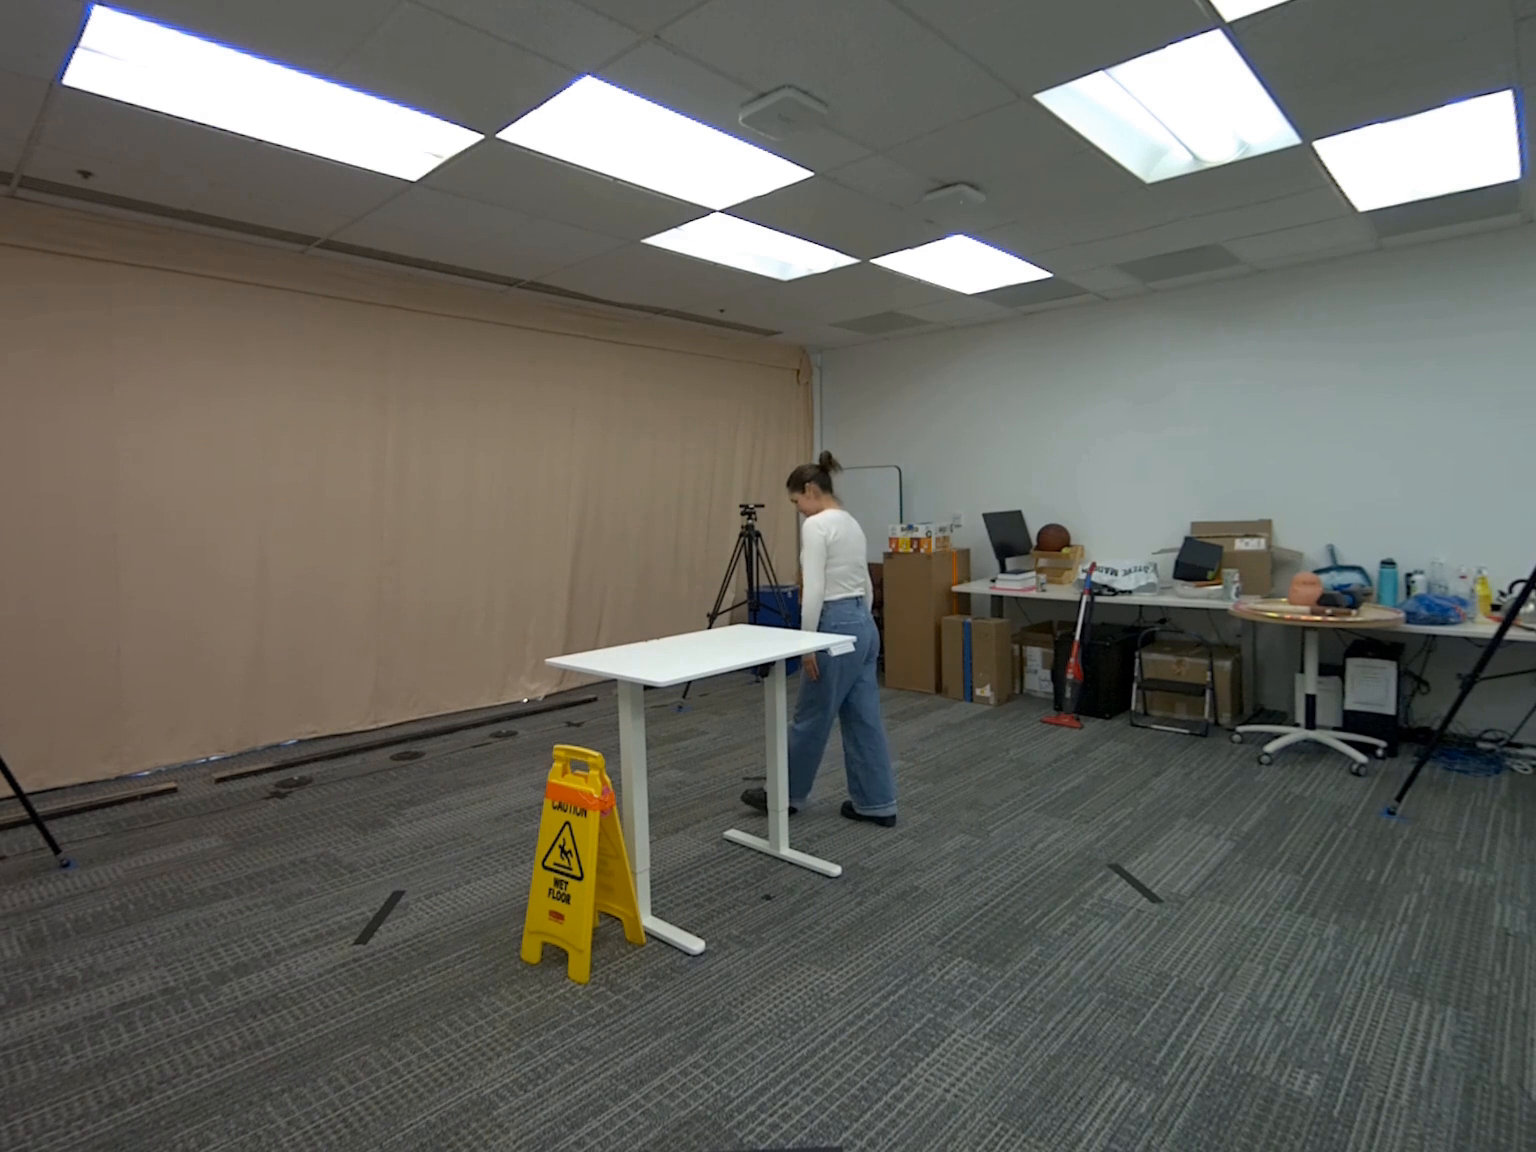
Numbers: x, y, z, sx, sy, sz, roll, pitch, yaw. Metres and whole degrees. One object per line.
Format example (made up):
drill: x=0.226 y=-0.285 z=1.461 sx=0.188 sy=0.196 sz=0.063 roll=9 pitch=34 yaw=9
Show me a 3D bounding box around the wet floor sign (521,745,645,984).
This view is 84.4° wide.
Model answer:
wet floor sign: x=-0.588 y=0.862 z=2.627 sx=0.291 sy=0.644 sz=0.282 roll=0 pitch=4 yaw=34
